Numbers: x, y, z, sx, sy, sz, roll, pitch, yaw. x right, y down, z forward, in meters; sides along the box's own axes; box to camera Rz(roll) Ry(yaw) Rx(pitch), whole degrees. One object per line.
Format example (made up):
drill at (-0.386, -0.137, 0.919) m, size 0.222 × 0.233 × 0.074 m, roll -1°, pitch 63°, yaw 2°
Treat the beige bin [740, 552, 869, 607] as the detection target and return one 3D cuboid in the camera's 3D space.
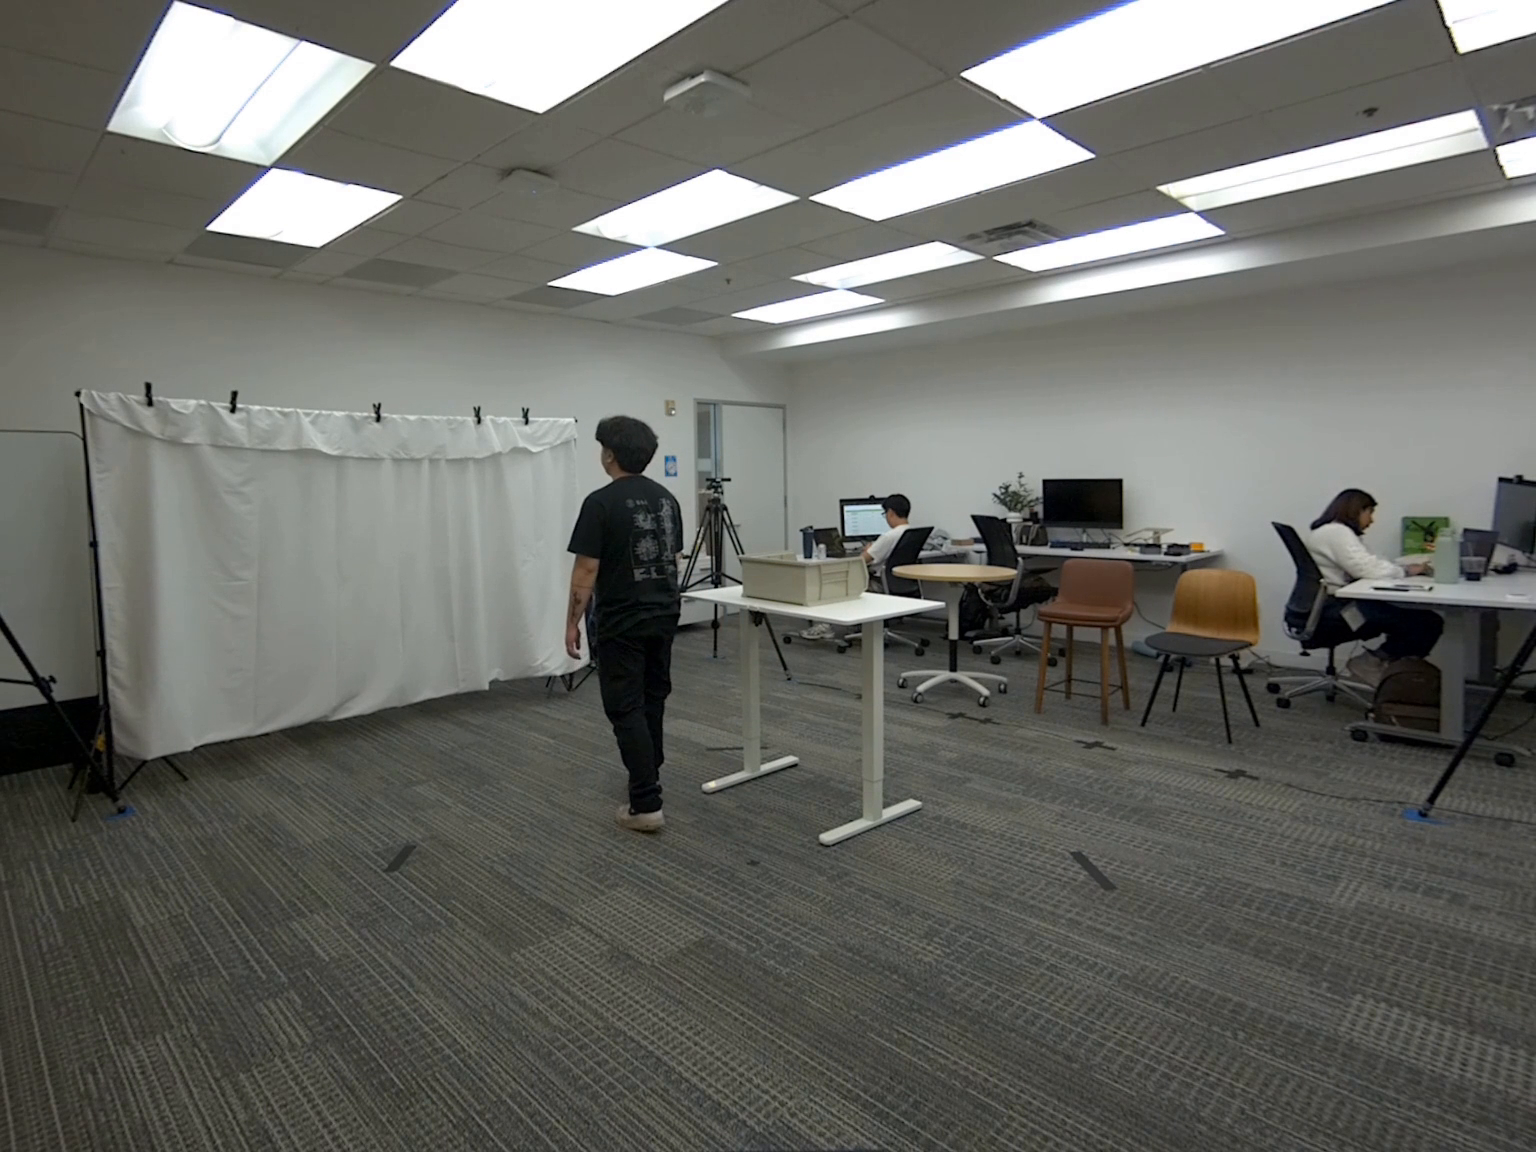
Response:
beige bin at (0.148, 0.005, 3.660) m, size 0.368 × 0.188 × 0.436 m, roll -9°, pitch 11°, yaw -41°
